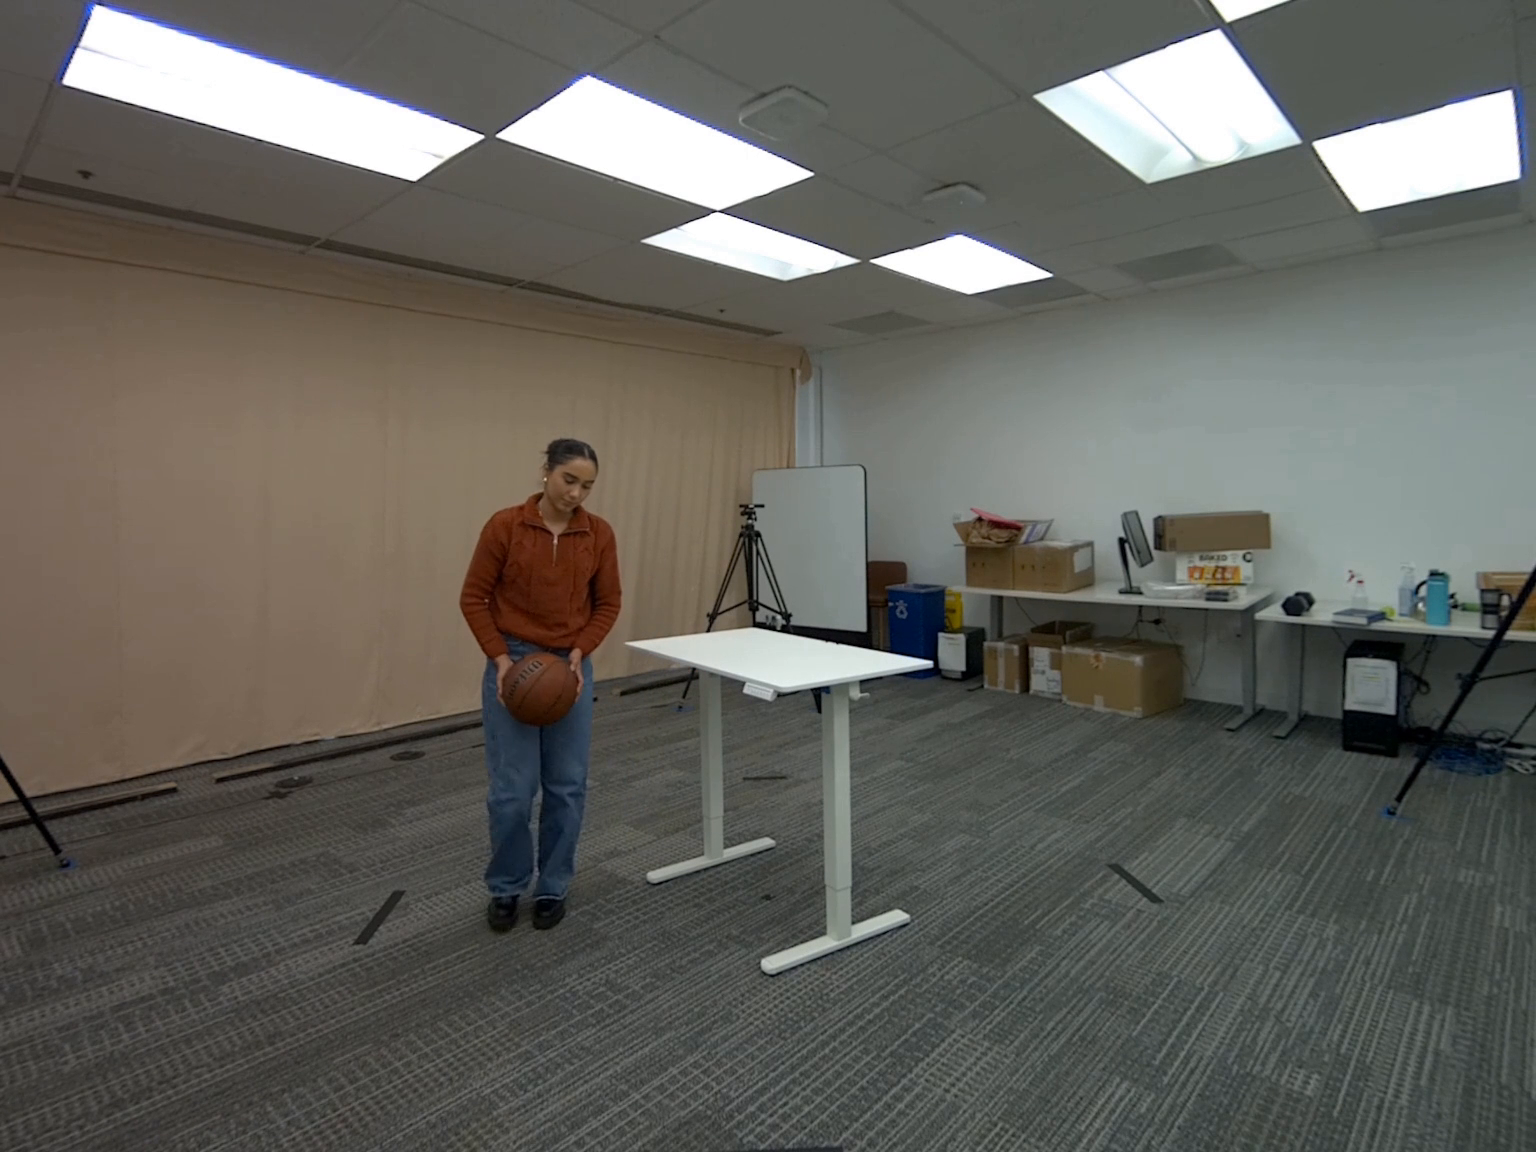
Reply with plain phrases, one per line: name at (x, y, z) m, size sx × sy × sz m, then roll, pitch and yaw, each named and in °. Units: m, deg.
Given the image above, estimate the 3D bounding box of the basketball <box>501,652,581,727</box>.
basketball at (-0.729, 0.362, 2.714) m, size 0.236 × 0.235 × 0.237 m, roll -1°, pitch 4°, yaw -2°
